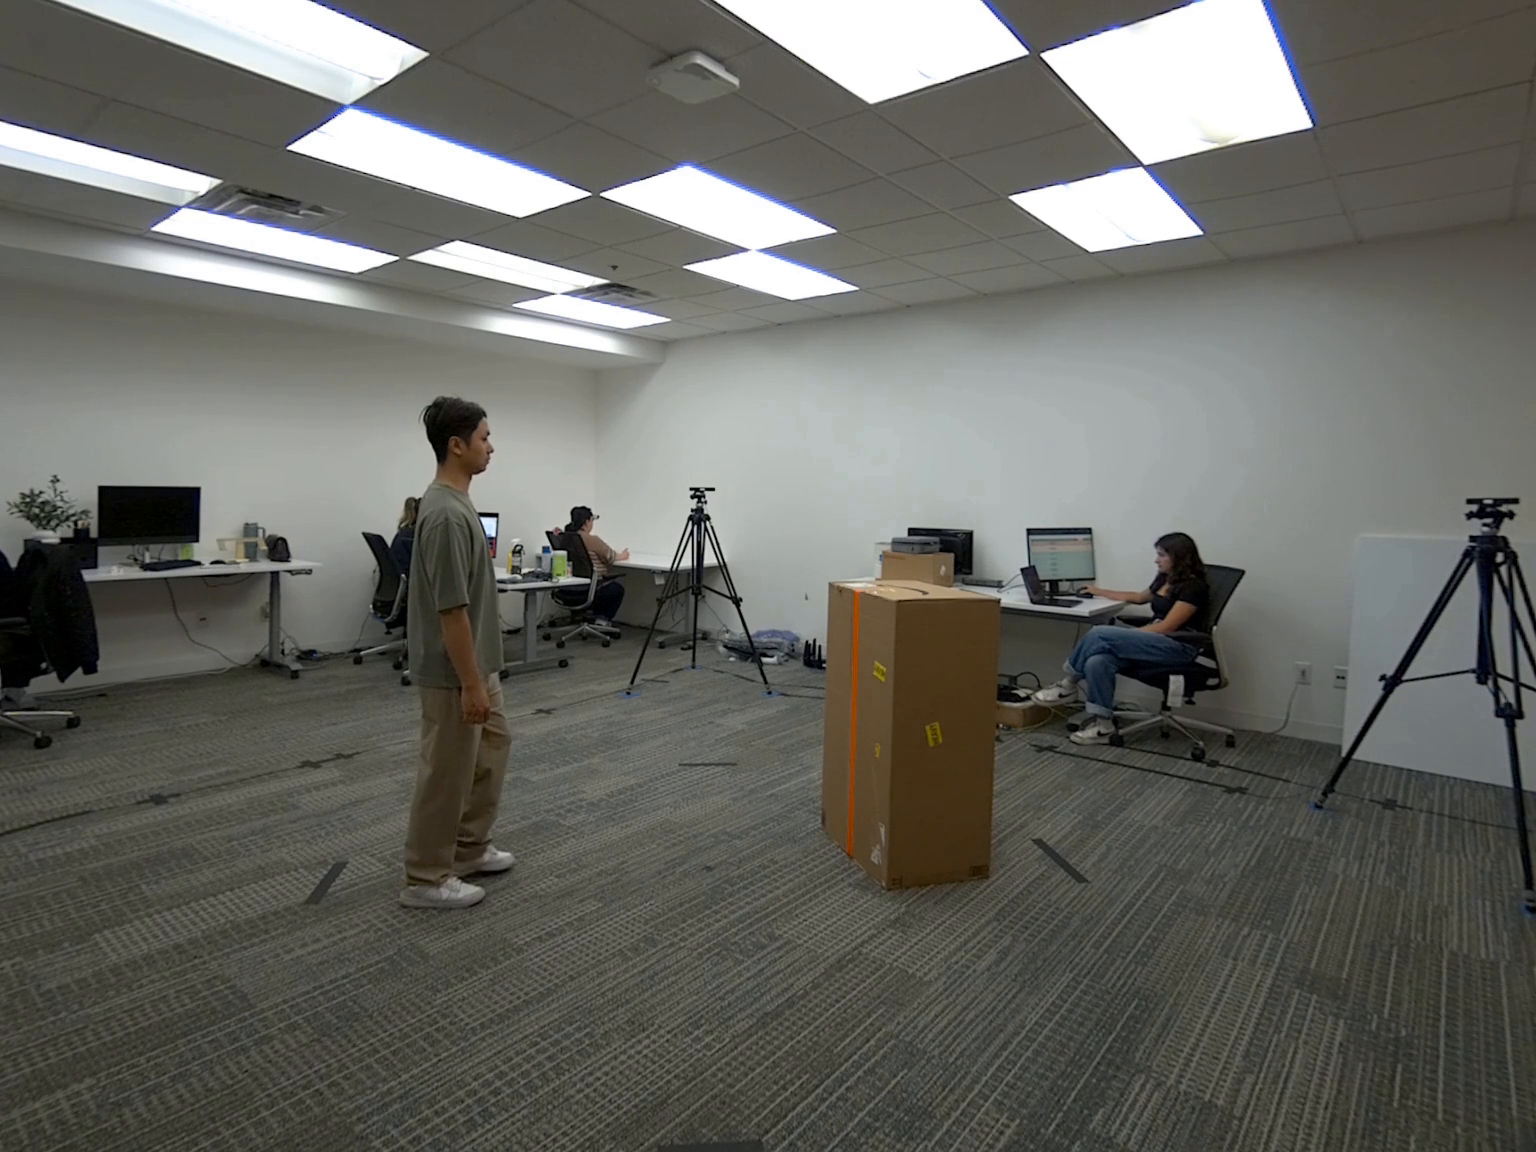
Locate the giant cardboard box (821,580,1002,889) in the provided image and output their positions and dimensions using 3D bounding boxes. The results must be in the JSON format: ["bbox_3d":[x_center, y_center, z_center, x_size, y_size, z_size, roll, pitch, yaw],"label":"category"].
[{"bbox_3d":[0.519,0.556,3.276,0.418,1.023,0.590,0,4,-19],"label":"giant cardboard box"}]
